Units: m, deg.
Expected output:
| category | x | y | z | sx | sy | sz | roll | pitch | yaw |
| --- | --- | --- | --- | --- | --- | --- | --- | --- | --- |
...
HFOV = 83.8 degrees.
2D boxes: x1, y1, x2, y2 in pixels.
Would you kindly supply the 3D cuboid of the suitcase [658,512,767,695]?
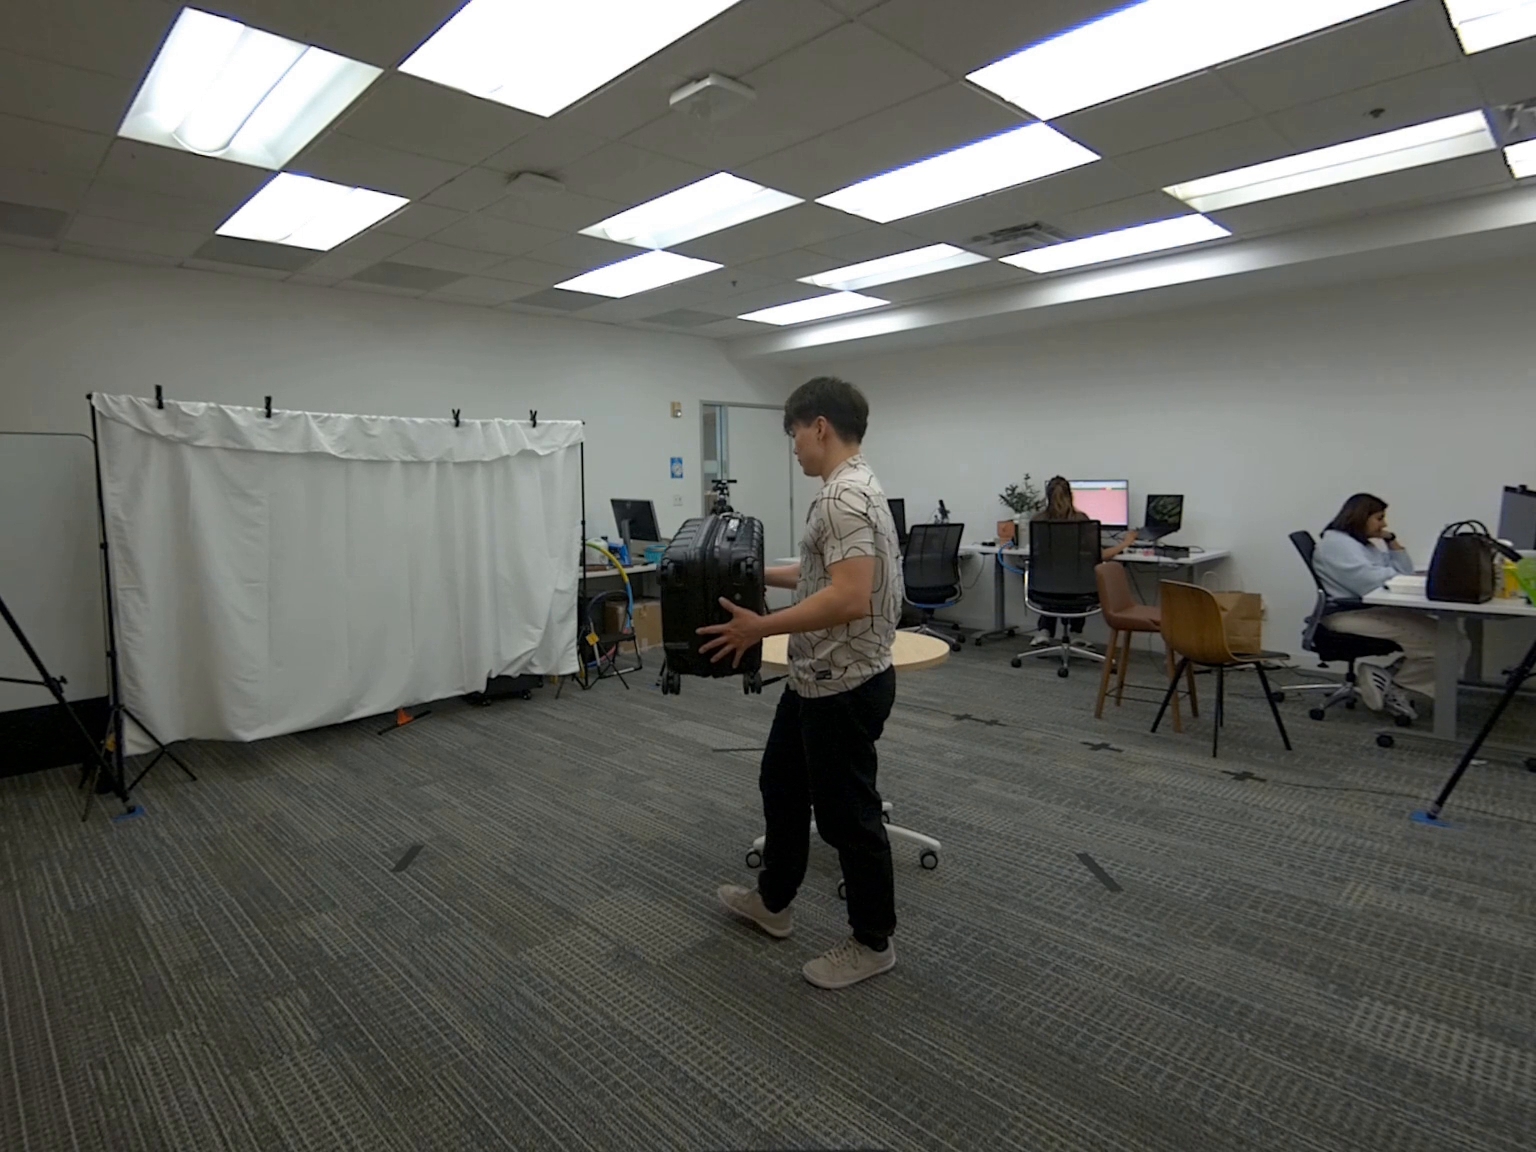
| category | x | y | z | sx | sy | sz | roll | pitch | yaw |
| --- | --- | --- | --- | --- | --- | --- | --- | --- | --- |
| suitcase | -0.133 | 0.030 | 2.372 | 0.249 | 0.371 | 0.554 | -2 | 14 | 1 |
